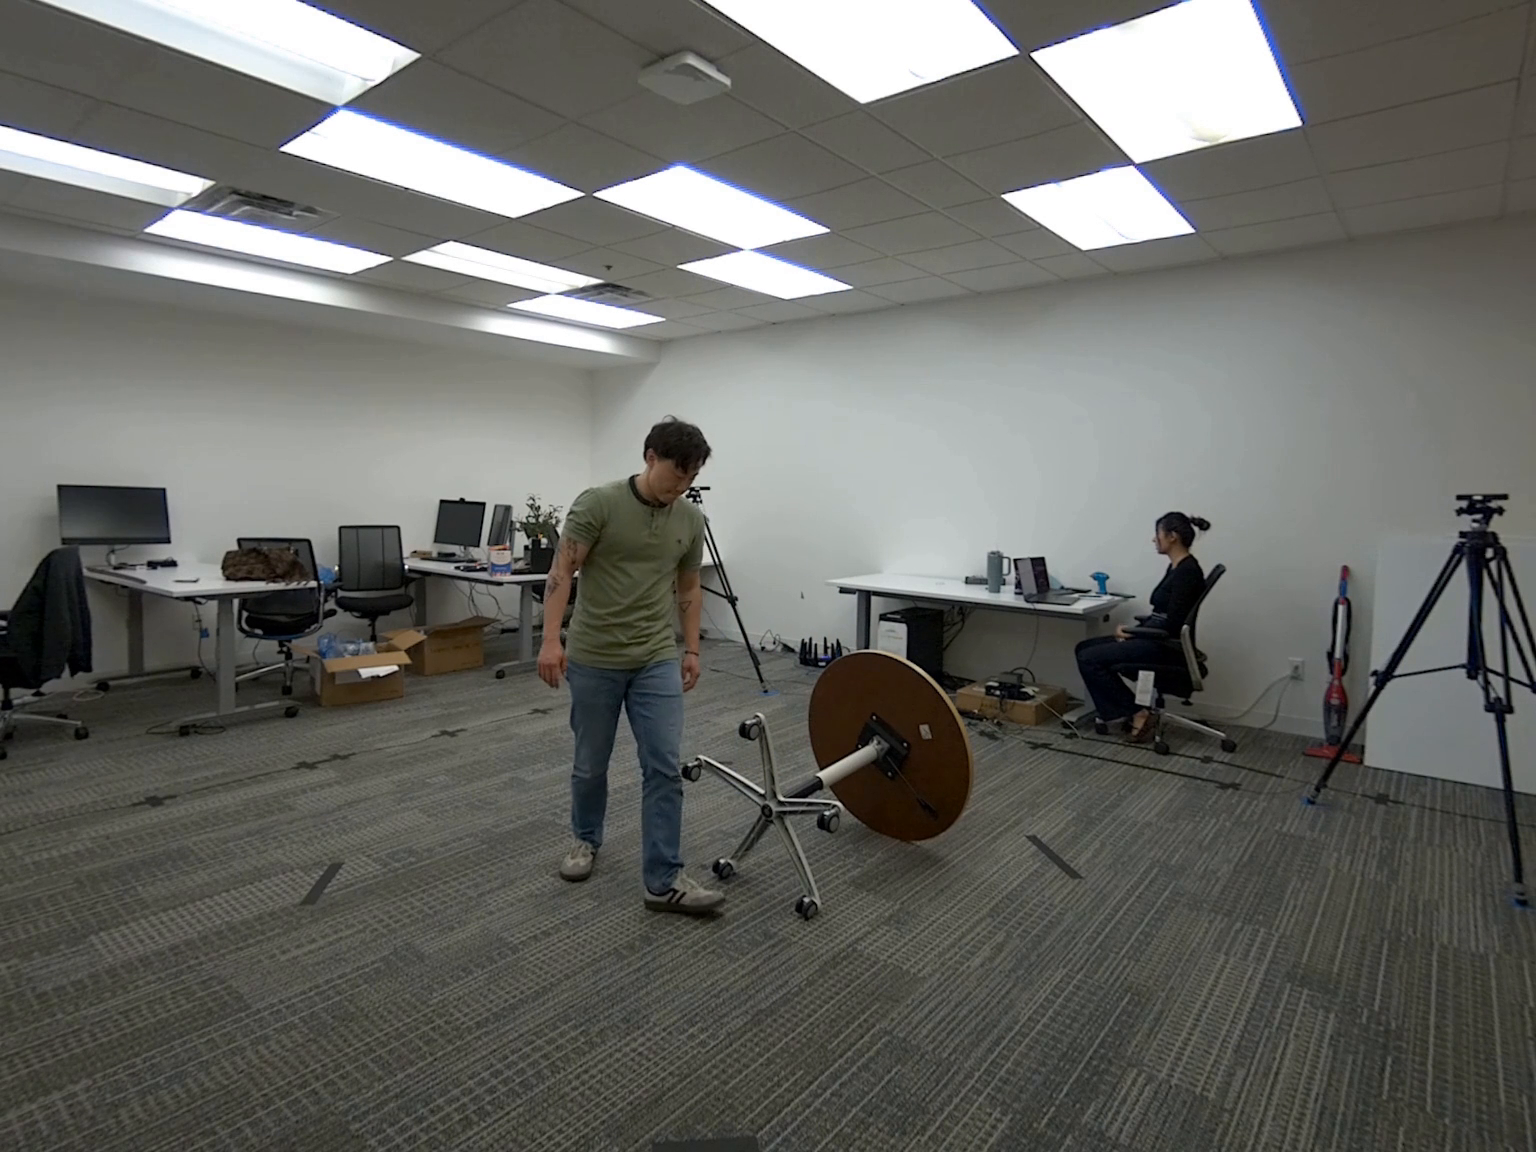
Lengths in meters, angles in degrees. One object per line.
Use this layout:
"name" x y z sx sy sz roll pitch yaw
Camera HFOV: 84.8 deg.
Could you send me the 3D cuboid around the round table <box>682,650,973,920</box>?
"round table" 0.194 0.738 3.122 0.790 0.757 0.775 5 13 44
